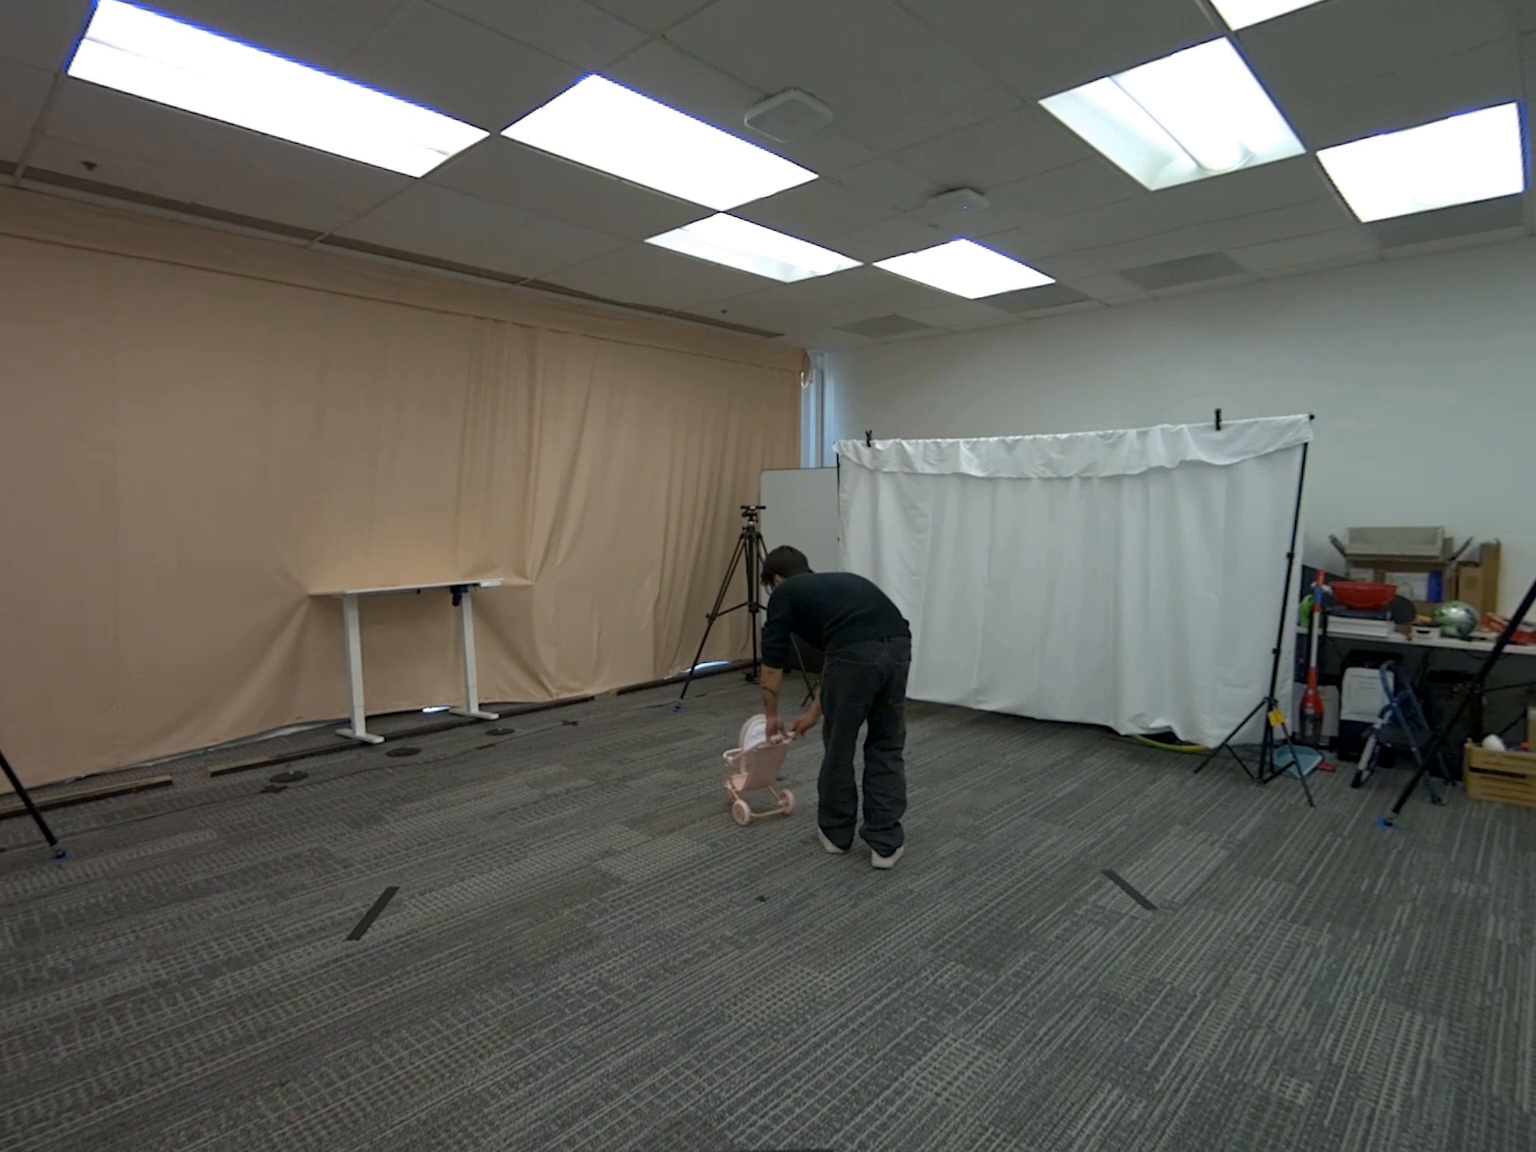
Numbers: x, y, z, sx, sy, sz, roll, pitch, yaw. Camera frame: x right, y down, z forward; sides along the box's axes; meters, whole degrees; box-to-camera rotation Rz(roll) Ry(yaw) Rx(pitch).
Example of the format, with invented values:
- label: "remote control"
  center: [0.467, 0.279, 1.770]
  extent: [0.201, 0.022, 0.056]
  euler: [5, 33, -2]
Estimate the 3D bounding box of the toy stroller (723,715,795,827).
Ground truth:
- label: "toy stroller"
  center: [-0.052, 0.851, 3.788]
  extent: [0.273, 0.531, 0.353]
  euler: [-1, 20, -32]
